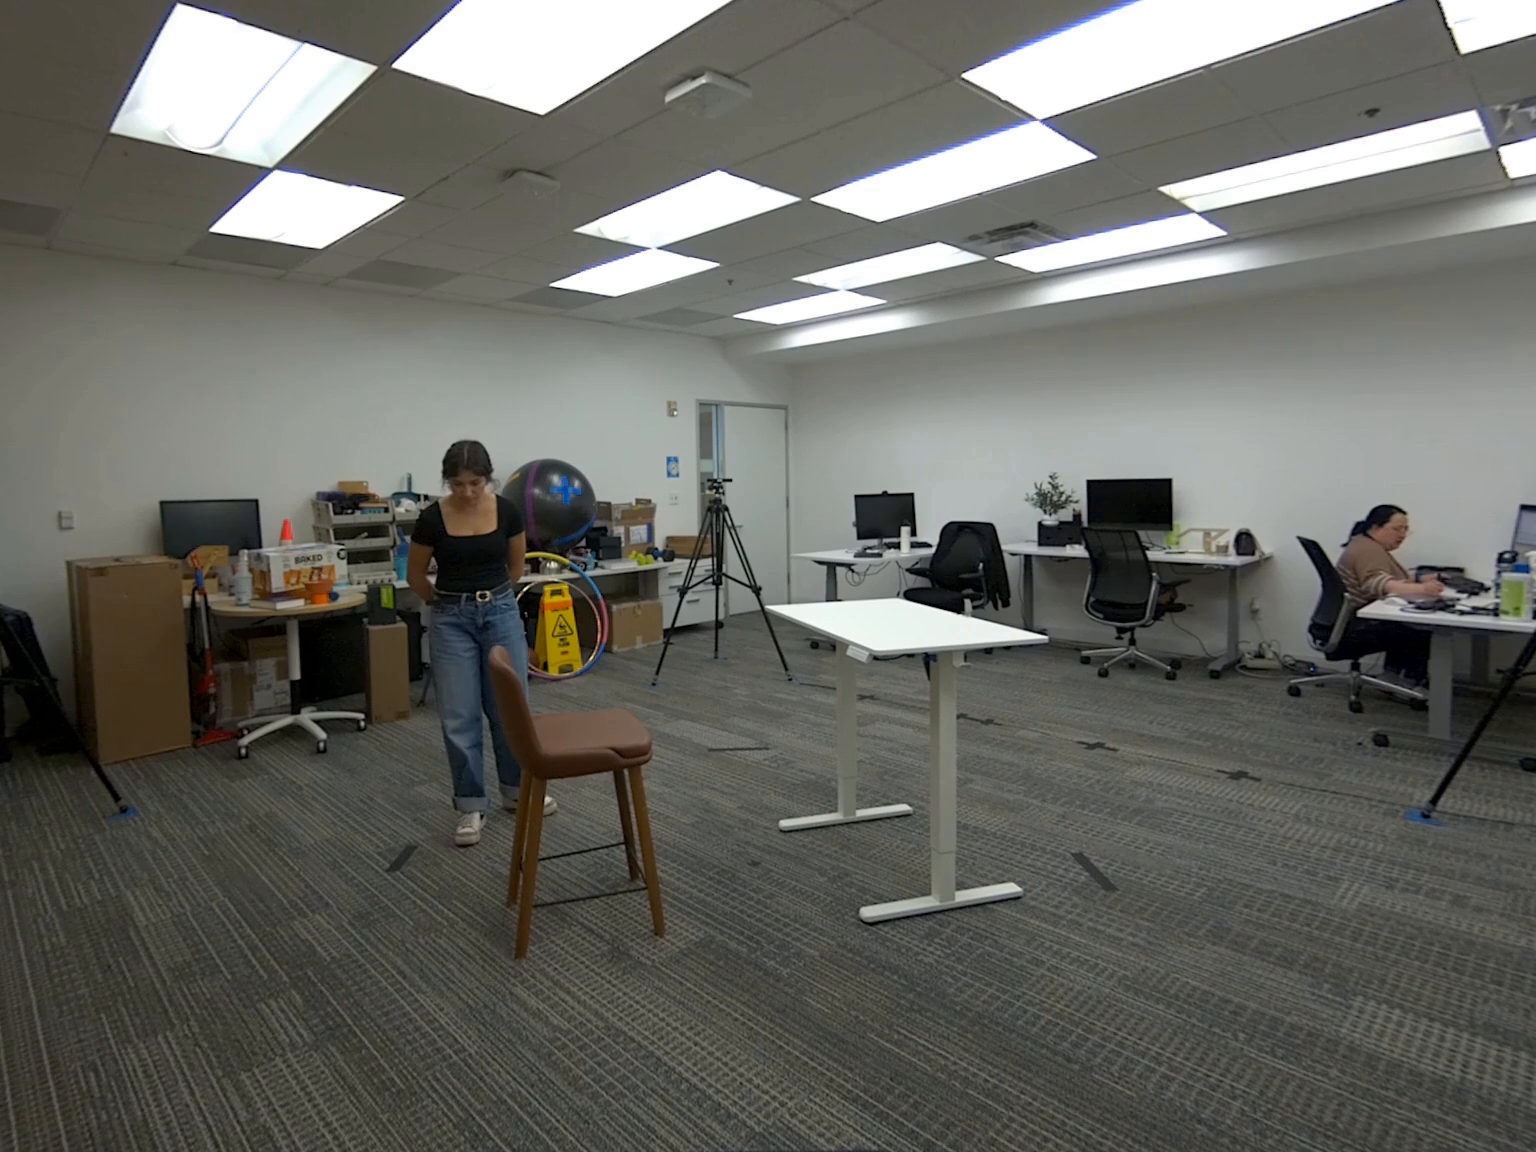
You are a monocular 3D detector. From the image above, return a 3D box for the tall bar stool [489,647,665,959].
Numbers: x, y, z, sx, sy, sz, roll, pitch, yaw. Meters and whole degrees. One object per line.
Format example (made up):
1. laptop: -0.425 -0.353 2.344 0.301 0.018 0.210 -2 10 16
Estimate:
1. tall bar stool: -0.605 0.666 2.721 0.460 0.886 0.466 -4 5 -20
